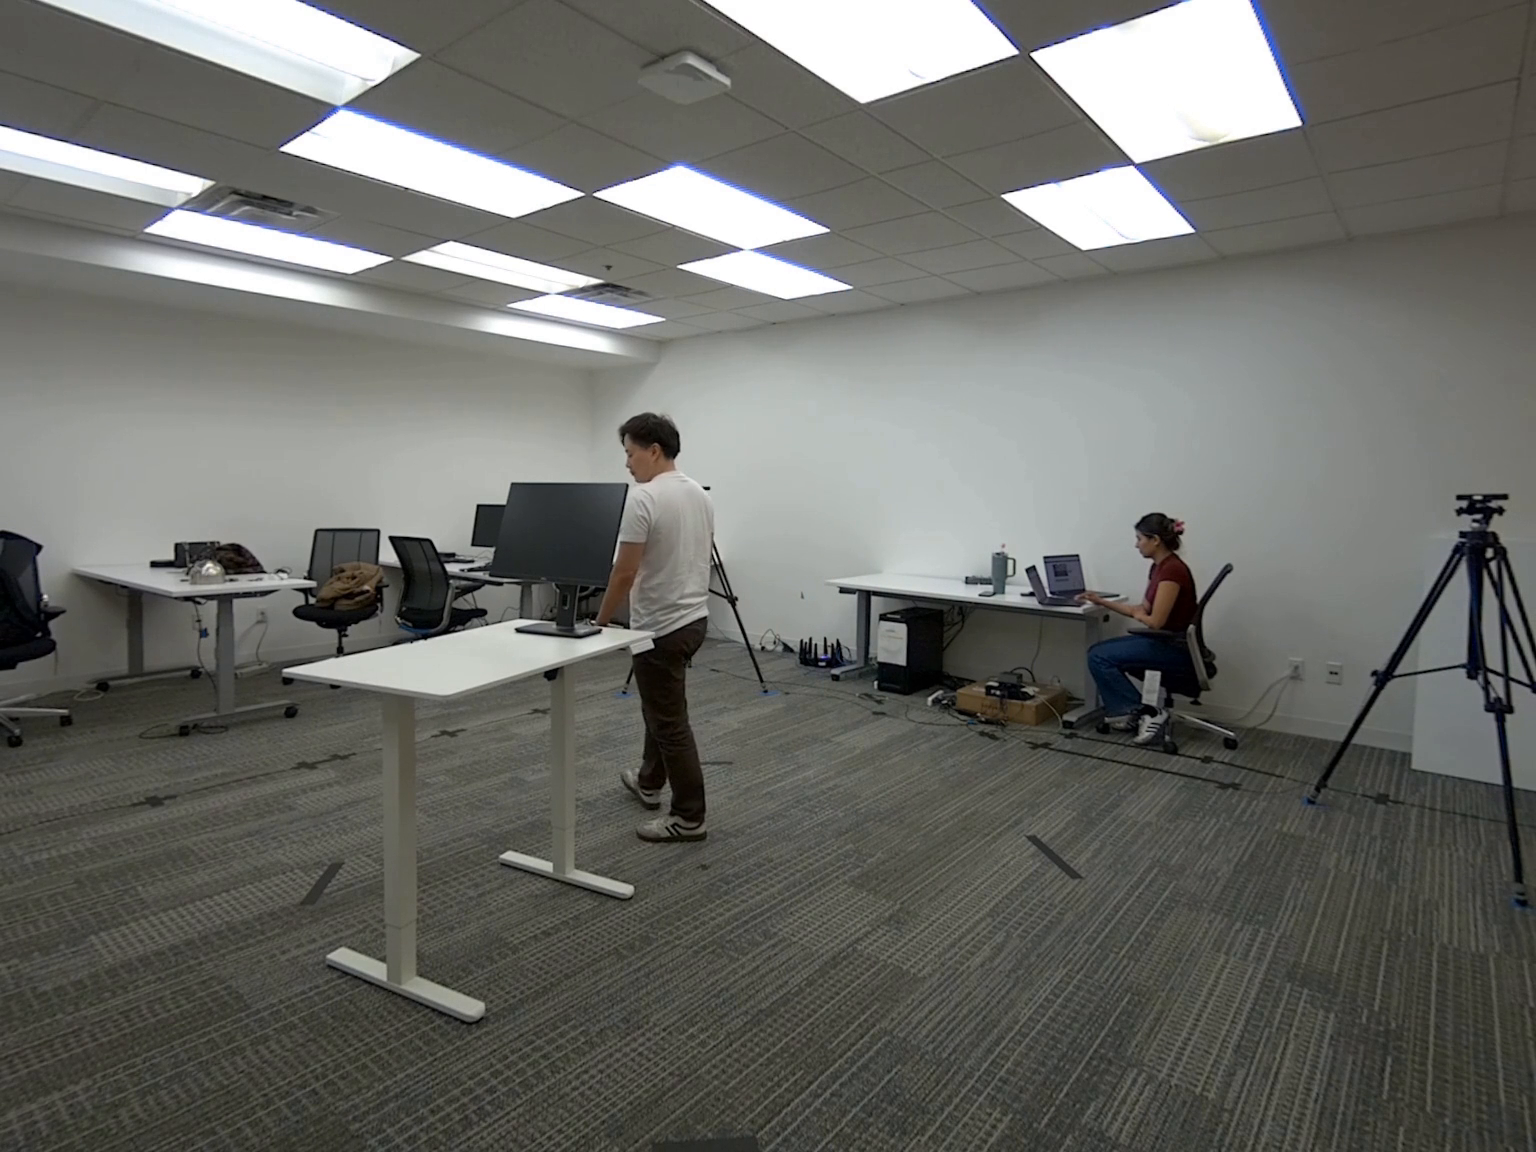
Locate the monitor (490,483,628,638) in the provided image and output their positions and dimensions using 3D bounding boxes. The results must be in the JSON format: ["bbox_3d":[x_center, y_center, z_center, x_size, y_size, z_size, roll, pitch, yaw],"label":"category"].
[{"bbox_3d":[-0.723,-0.063,2.934,0.554,0.522,0.182,3,1,27],"label":"monitor"}]
